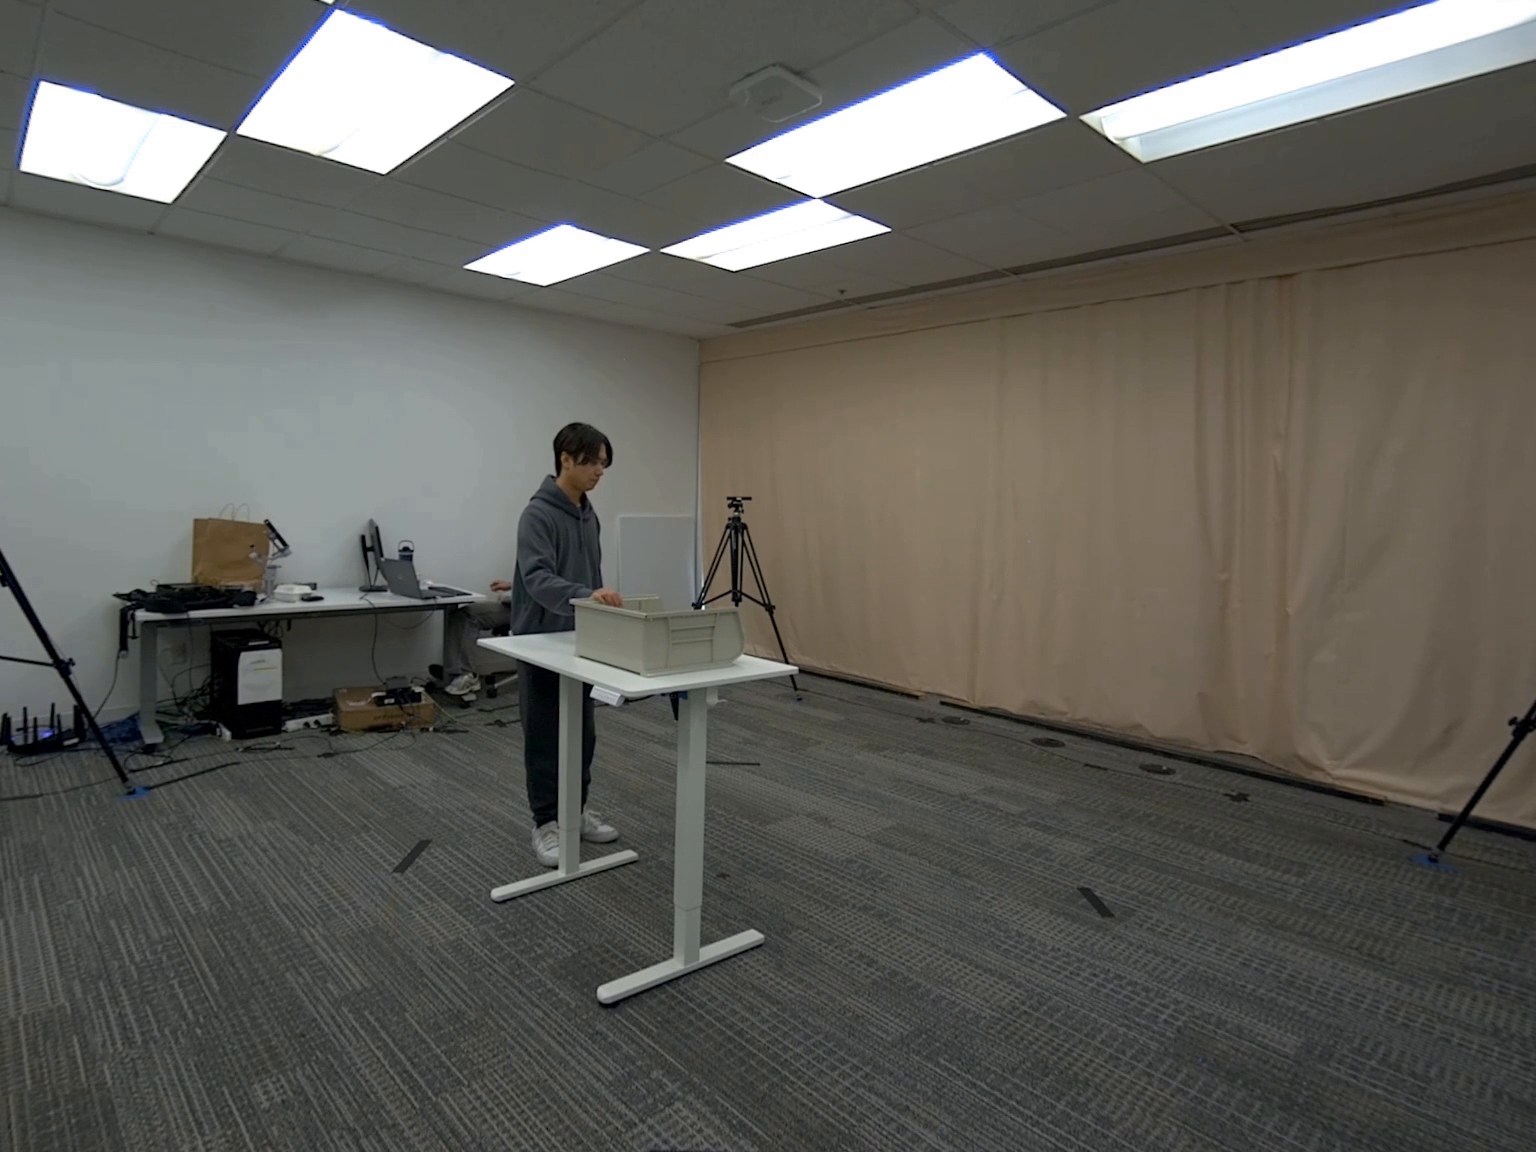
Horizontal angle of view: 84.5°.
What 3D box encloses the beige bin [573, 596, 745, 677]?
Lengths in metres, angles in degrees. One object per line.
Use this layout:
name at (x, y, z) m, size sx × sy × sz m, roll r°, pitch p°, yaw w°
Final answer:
beige bin at (-0.344, 0.176, 2.592) m, size 0.369 × 0.188 × 0.433 m, roll -3°, pitch 6°, yaw -41°
